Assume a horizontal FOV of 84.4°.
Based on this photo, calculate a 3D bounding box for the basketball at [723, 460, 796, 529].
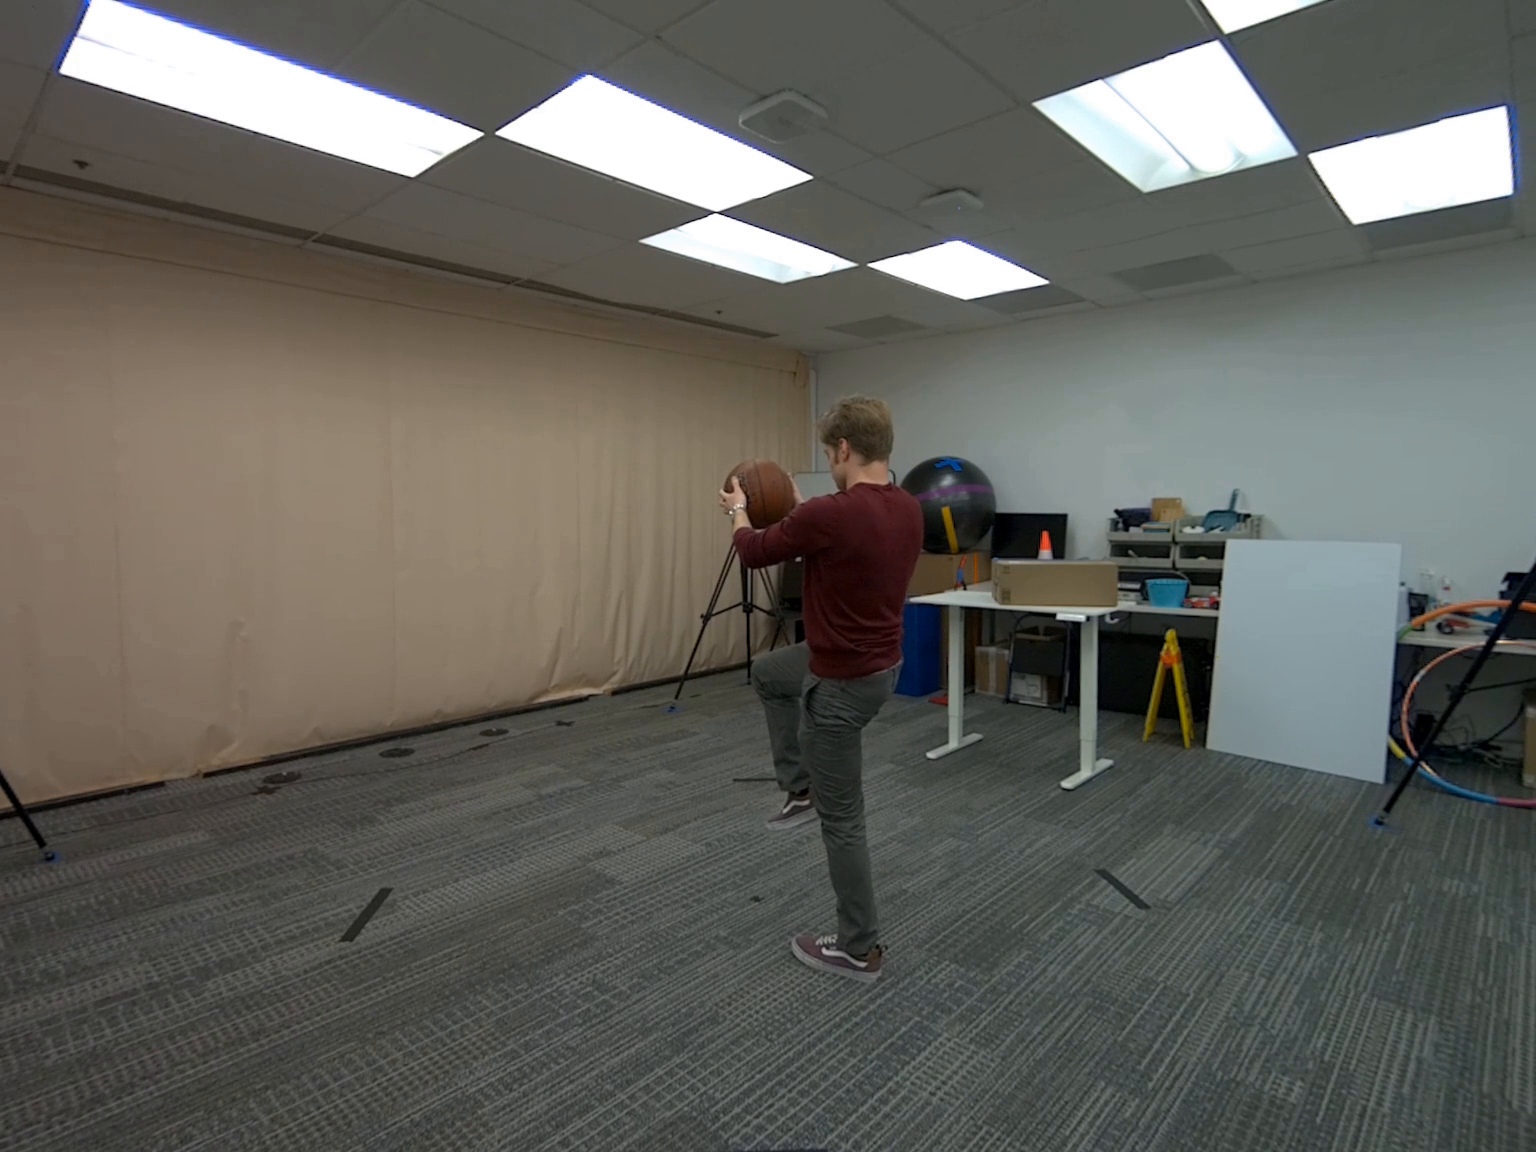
[{"bbox_3d":[-0.026,-0.278,2.846,0.236,0.235,0.237,0,4,-2],"label":"basketball"}]
